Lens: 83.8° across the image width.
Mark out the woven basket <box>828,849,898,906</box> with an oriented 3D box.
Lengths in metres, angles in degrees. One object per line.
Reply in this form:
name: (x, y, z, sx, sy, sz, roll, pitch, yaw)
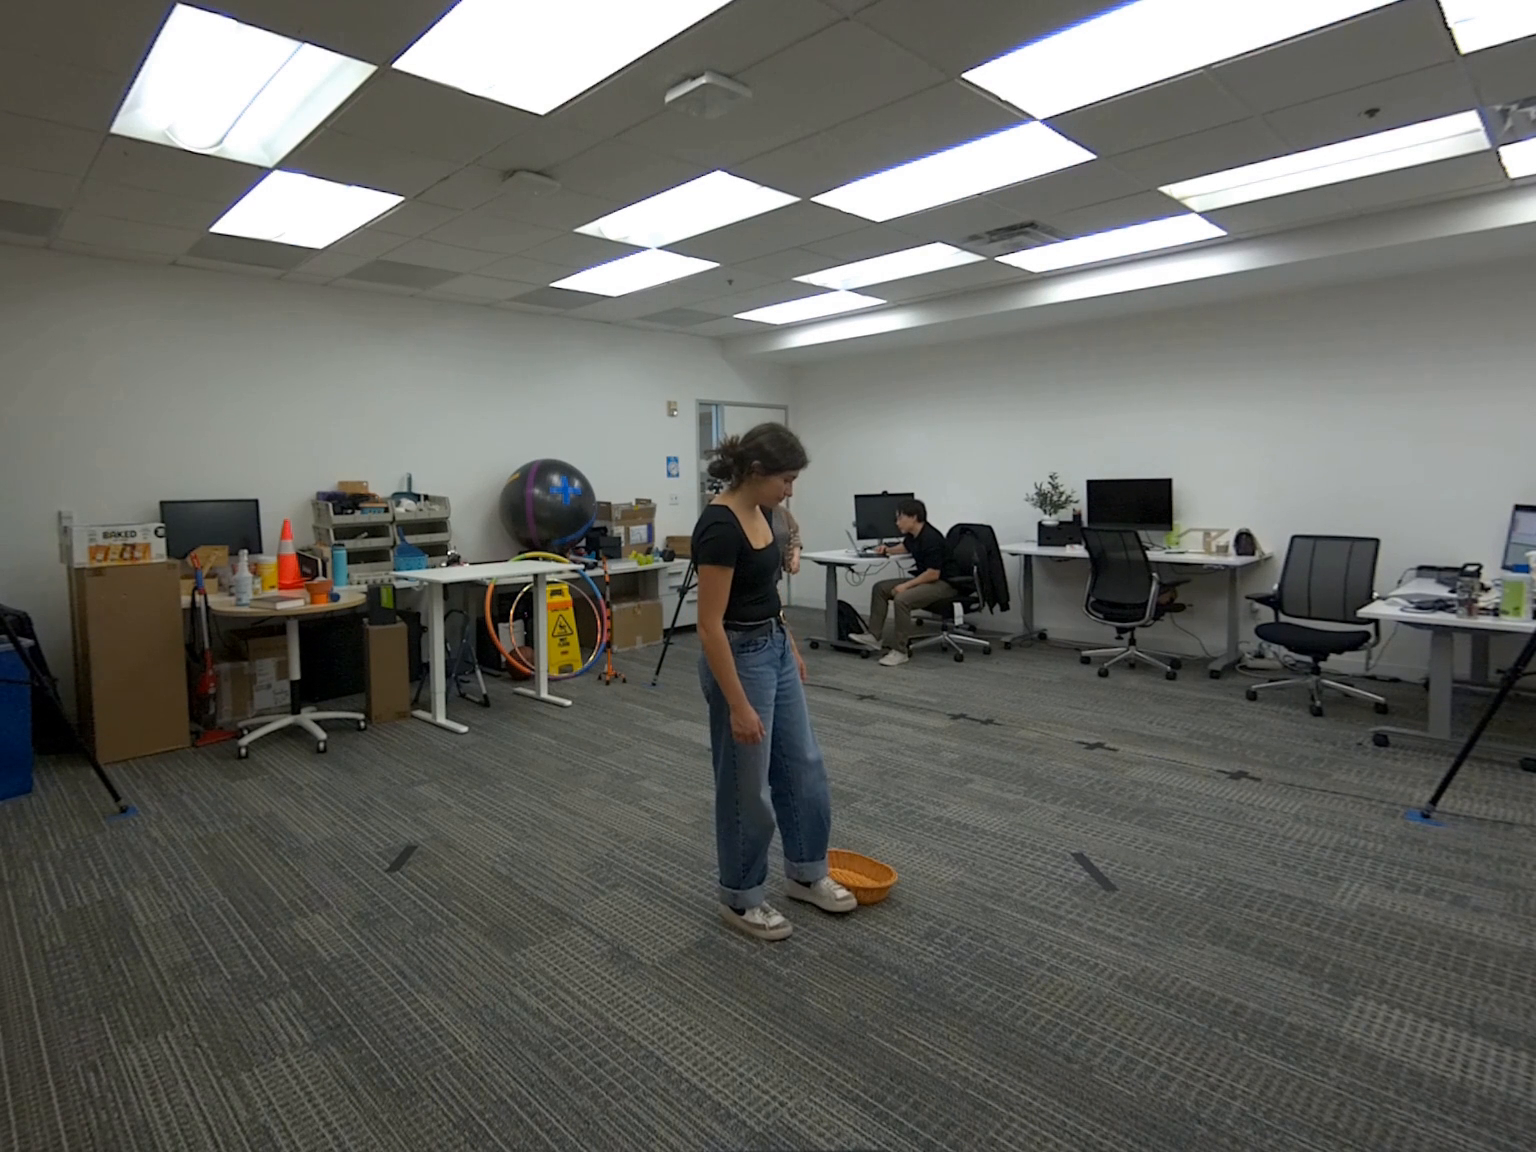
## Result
woven basket: (0.274, 1.020, 2.907, 0.245, 0.073, 0.361, -1, 3, -40)
